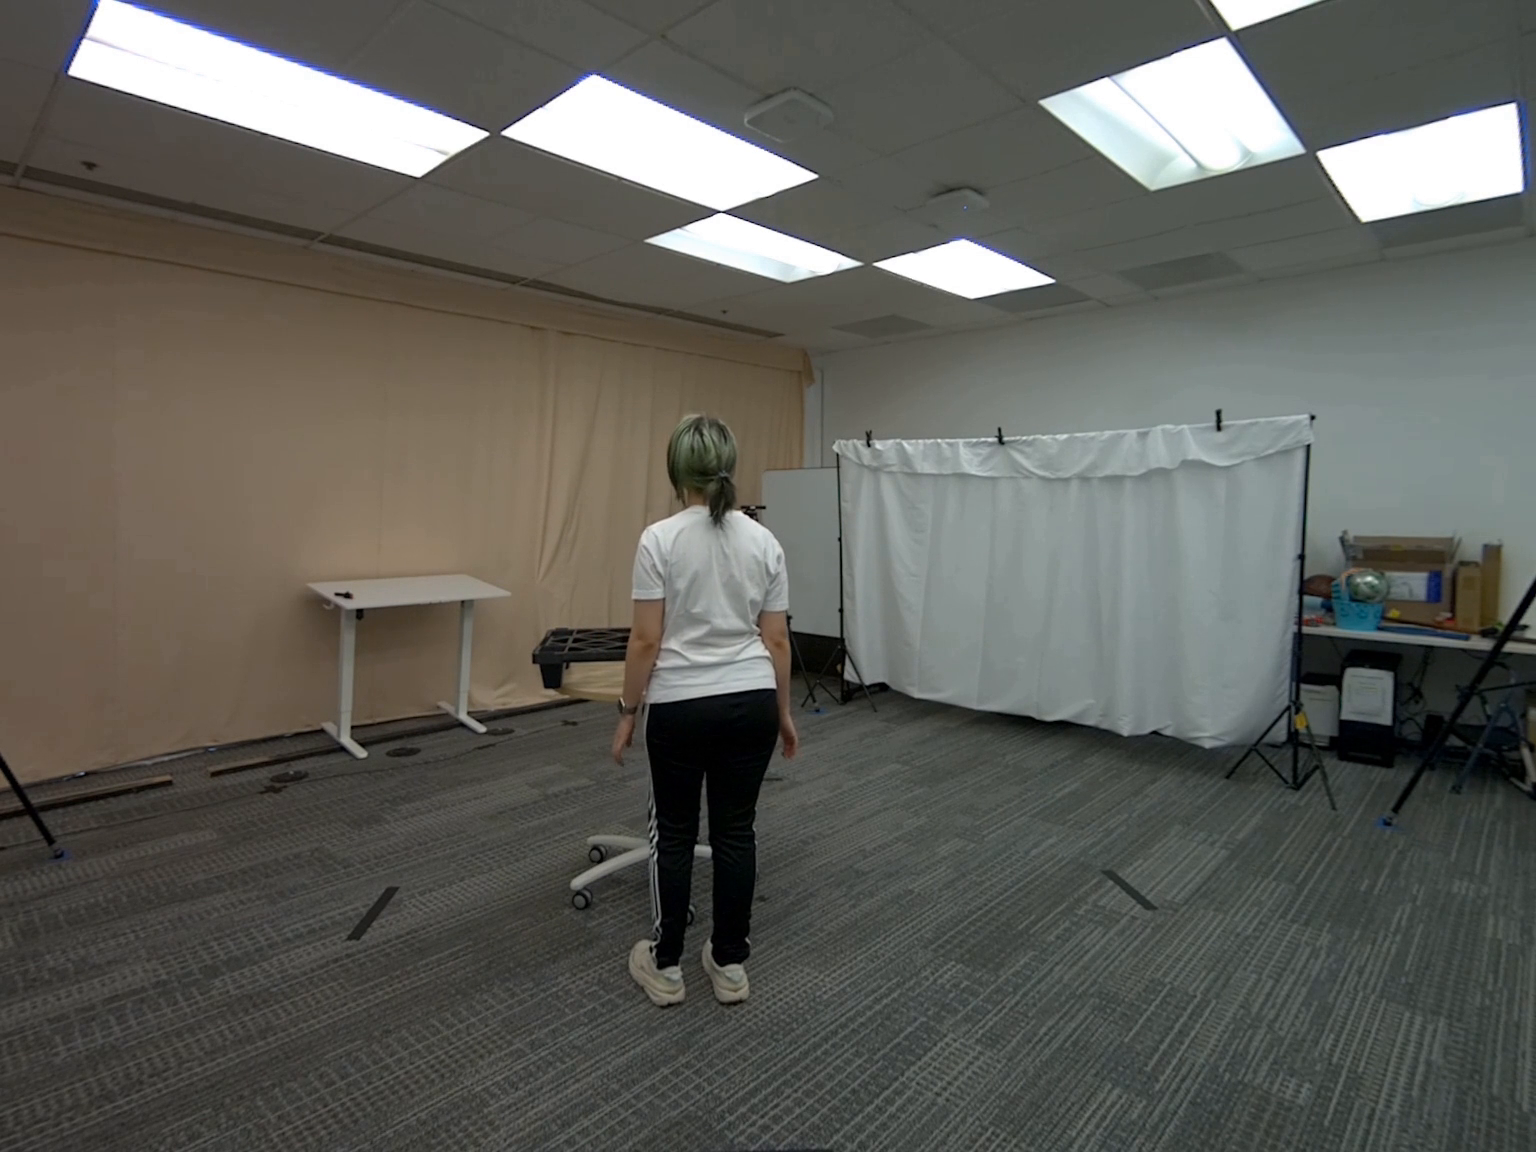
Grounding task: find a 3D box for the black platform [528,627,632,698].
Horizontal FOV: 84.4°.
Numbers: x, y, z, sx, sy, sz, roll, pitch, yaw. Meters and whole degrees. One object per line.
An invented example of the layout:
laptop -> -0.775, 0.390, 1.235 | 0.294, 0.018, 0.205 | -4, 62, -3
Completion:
black platform -> -0.417, 0.290, 3.064 | 0.801, 0.143, 0.610 | -1, 4, -6
